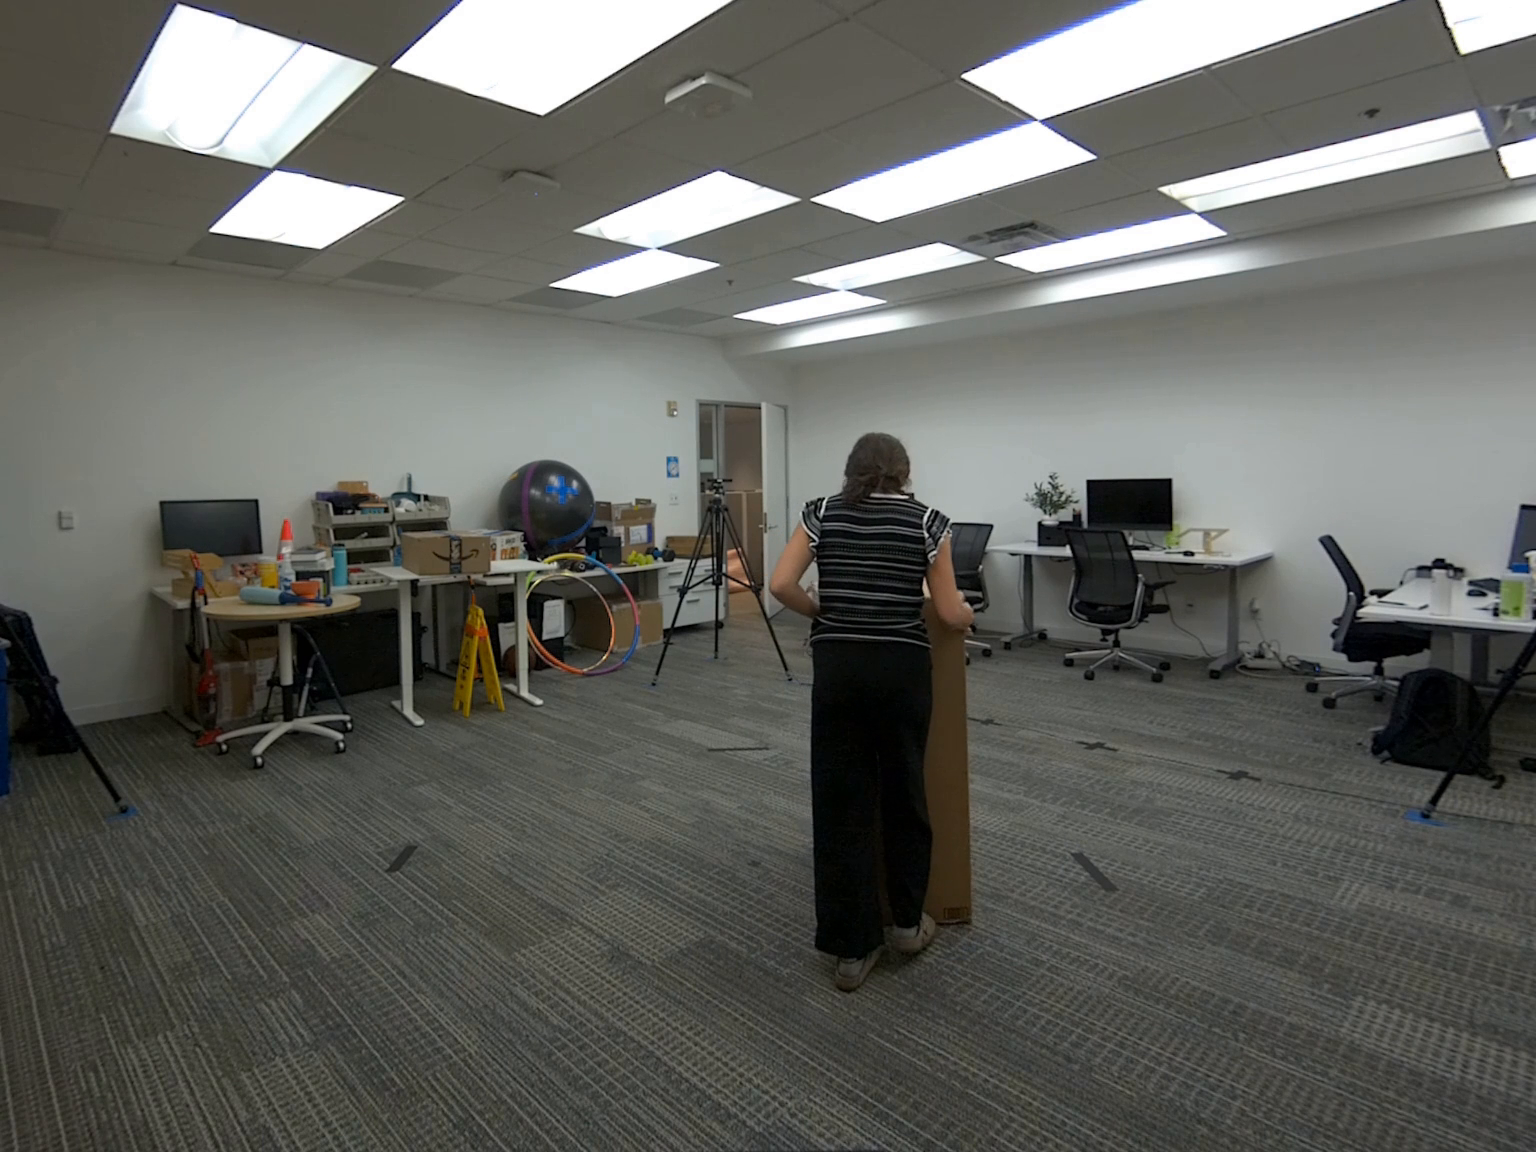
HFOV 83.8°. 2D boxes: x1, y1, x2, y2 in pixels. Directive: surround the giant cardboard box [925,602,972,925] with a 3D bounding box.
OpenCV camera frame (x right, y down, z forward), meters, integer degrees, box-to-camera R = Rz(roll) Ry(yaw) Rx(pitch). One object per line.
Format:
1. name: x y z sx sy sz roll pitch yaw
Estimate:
1. giant cardboard box: 0.407 0.549 2.910 0.427 1.022 0.578 -2 4 1
